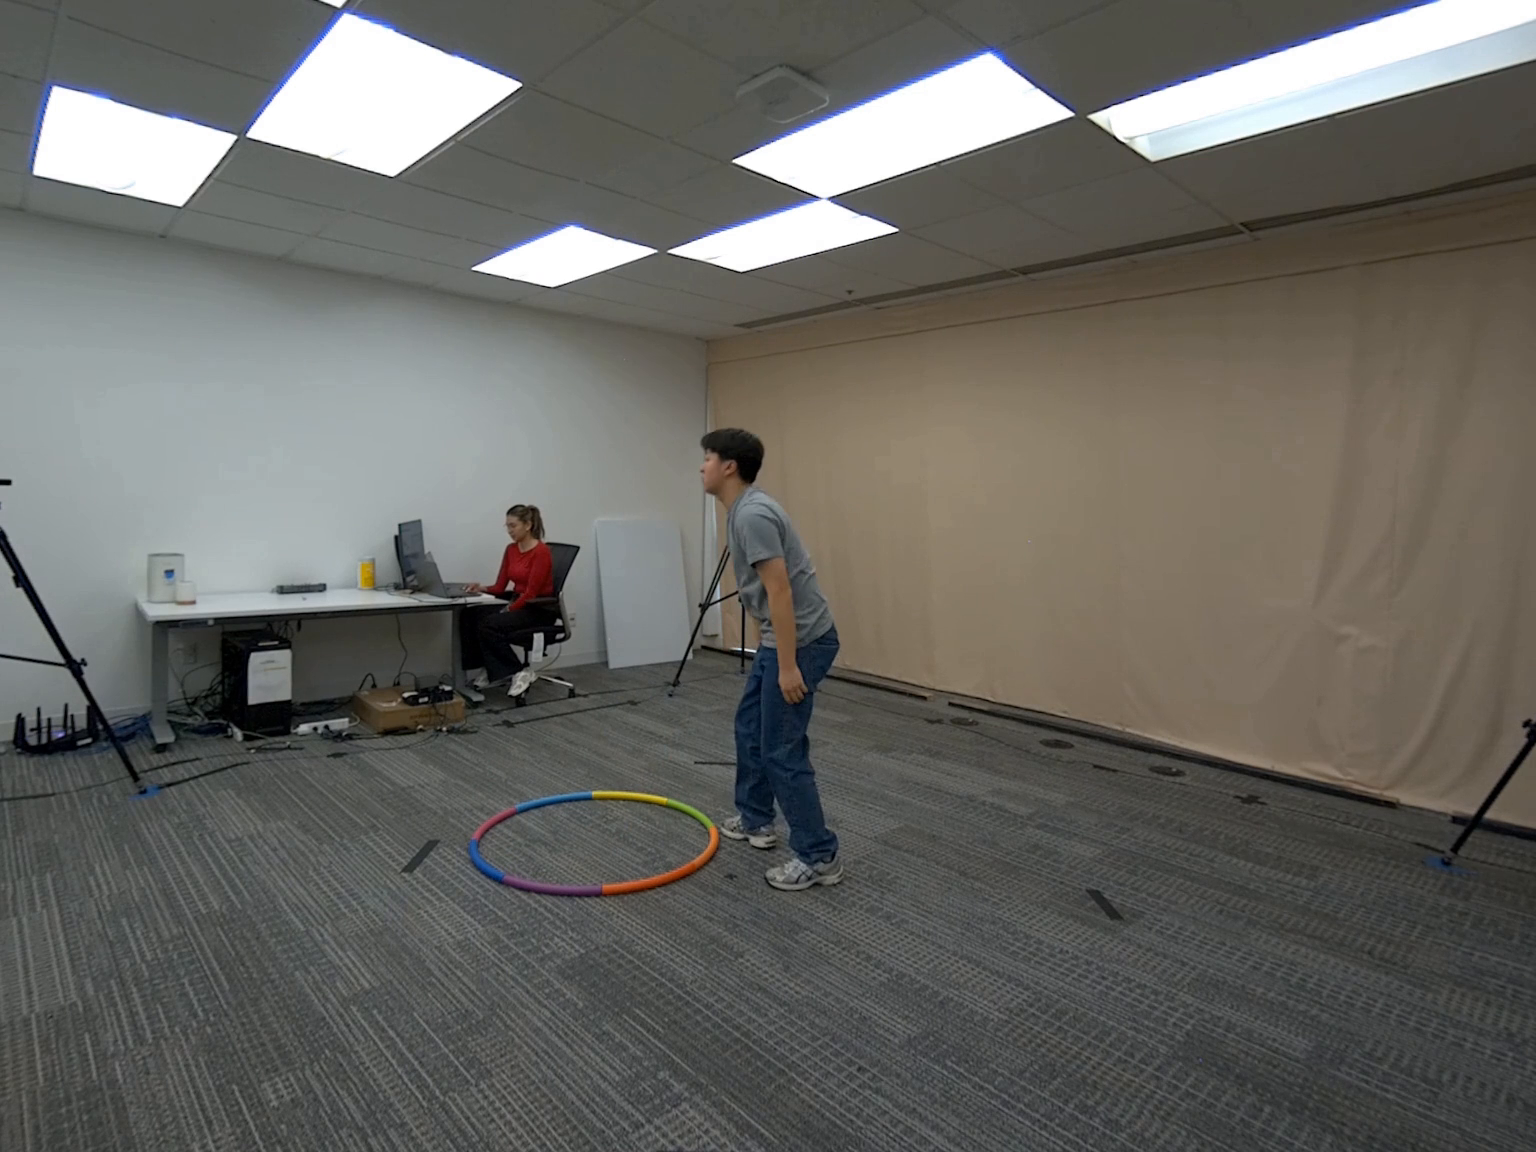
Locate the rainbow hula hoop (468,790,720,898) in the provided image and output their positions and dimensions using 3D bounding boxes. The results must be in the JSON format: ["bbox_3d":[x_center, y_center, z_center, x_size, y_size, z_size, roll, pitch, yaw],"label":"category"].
[{"bbox_3d":[-0.702,1.039,3.397,0.978,0.035,0.982,2,5,-1],"label":"rainbow hula hoop"}]
